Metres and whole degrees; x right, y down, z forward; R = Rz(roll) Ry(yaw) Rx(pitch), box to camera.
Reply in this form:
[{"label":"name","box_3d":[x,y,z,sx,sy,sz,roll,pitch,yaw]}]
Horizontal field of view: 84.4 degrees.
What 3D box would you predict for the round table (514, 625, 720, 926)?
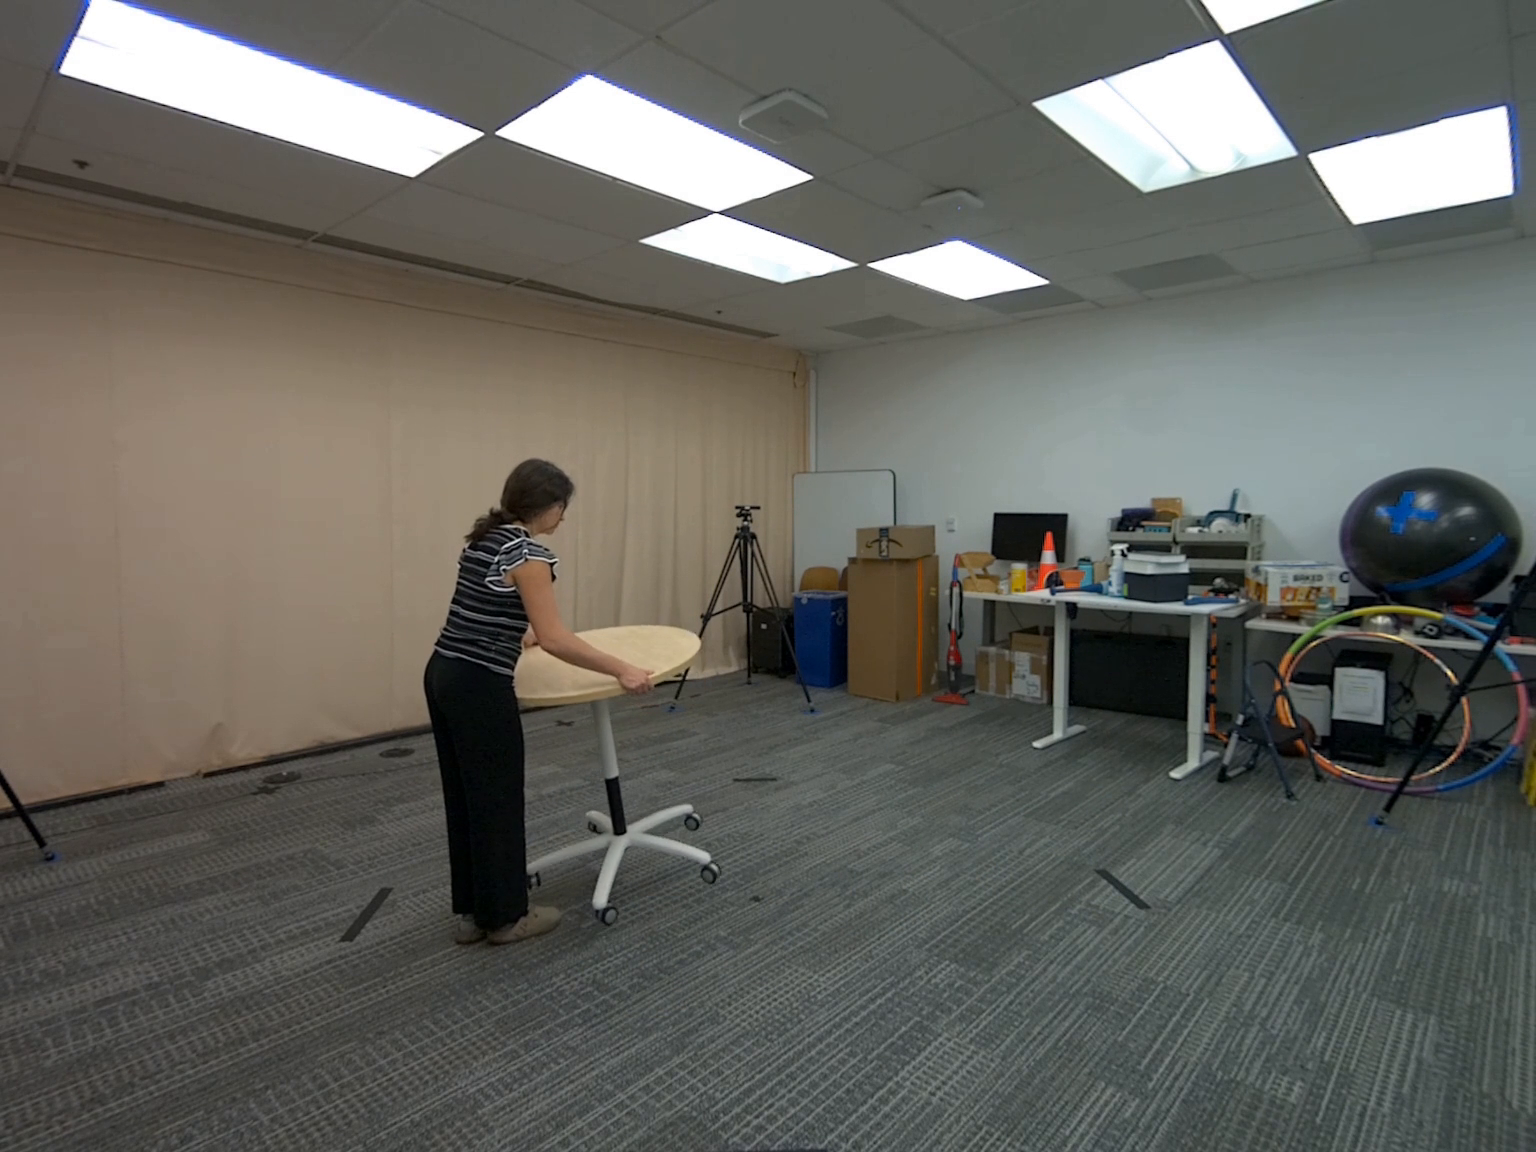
[{"label":"round table","box_3d":[-0.555,0.673,2.987,0.764,0.787,0.770,-7,11,0]}]
